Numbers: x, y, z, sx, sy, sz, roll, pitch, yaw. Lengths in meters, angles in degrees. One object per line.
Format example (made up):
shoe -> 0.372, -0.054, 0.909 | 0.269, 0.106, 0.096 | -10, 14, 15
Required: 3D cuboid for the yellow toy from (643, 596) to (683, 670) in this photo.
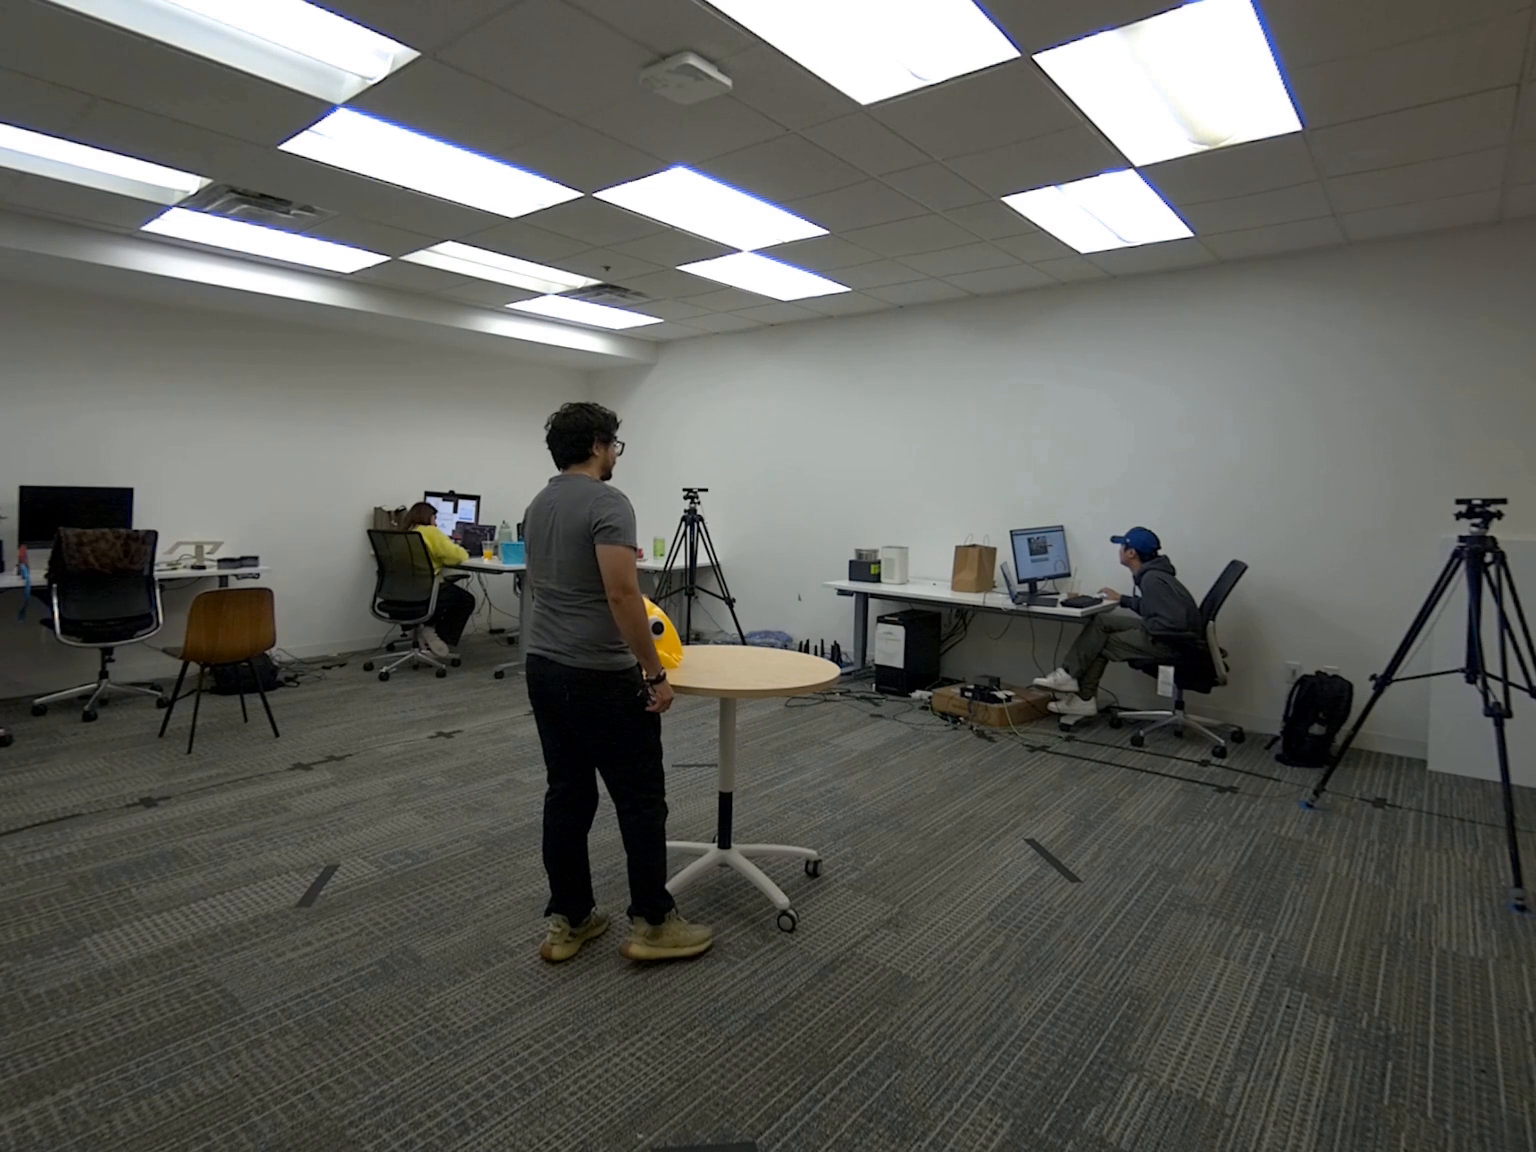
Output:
yellow toy -> -0.391, 0.183, 2.937 | 0.193, 0.230, 0.205 | 2, 3, 0
